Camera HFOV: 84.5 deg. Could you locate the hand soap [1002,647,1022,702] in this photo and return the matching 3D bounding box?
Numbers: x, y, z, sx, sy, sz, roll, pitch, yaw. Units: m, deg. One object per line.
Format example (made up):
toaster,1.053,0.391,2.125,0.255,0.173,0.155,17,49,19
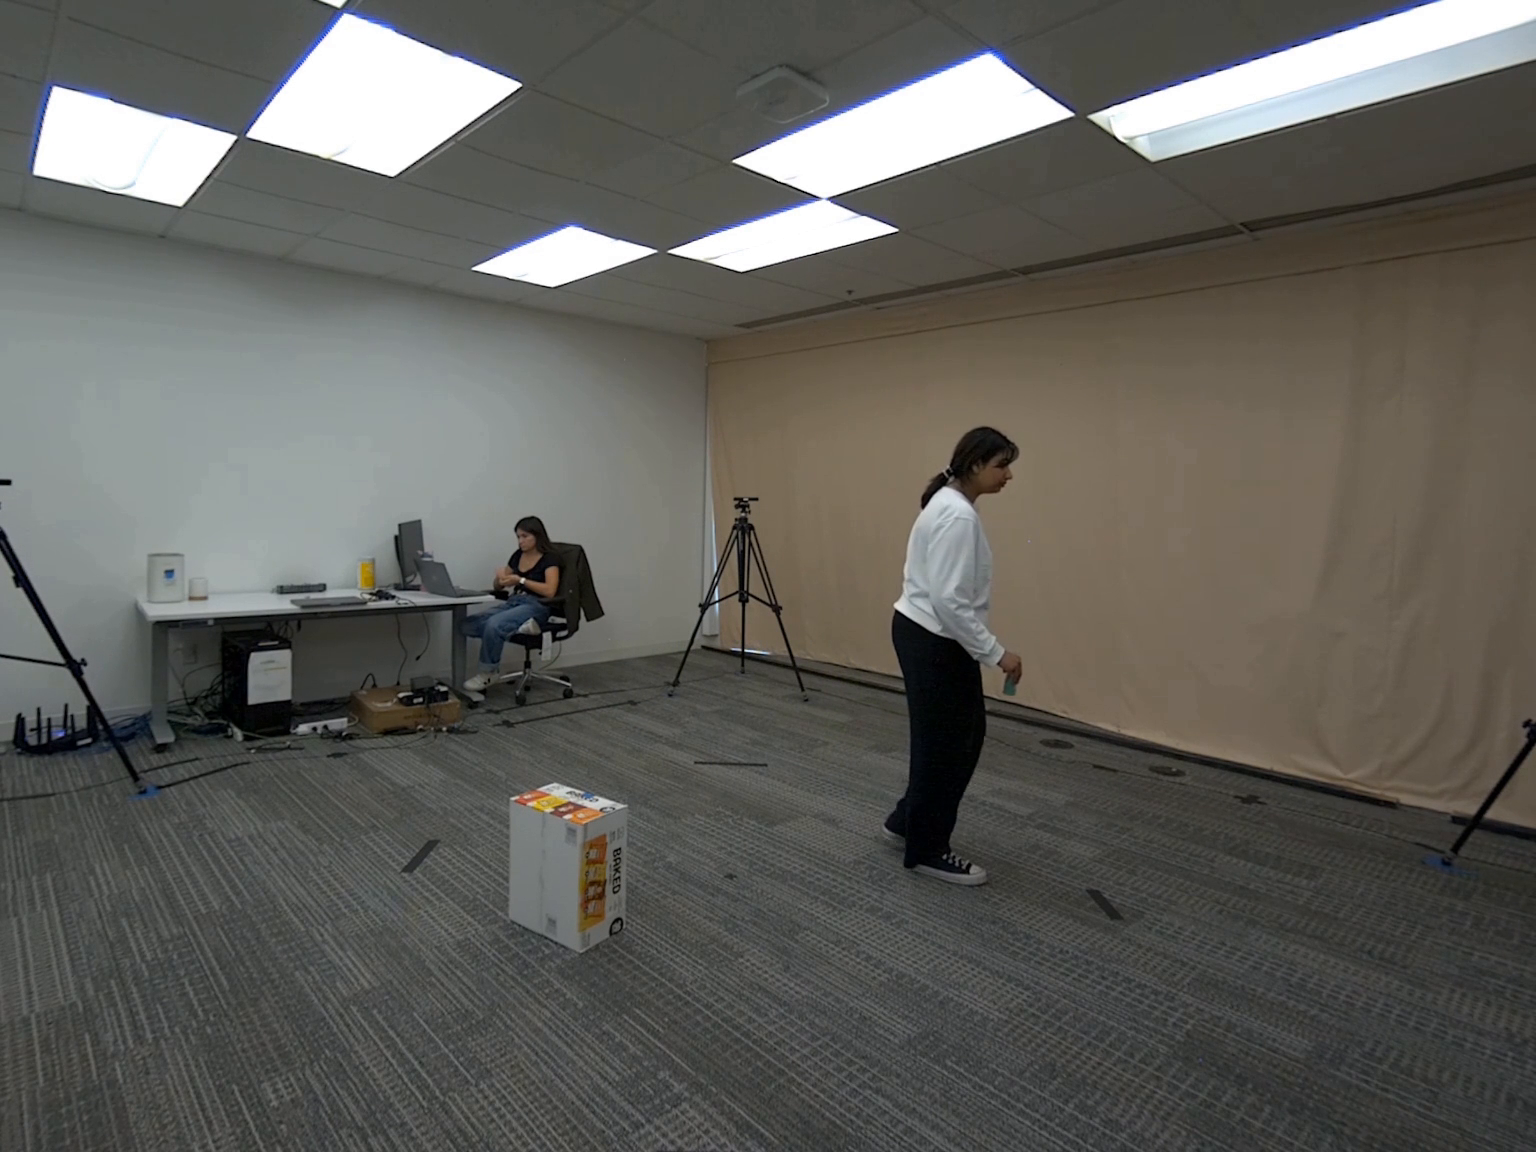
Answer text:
hand soap,0.861,0.346,2.993,0.044,0.167,0.083,5,7,23
